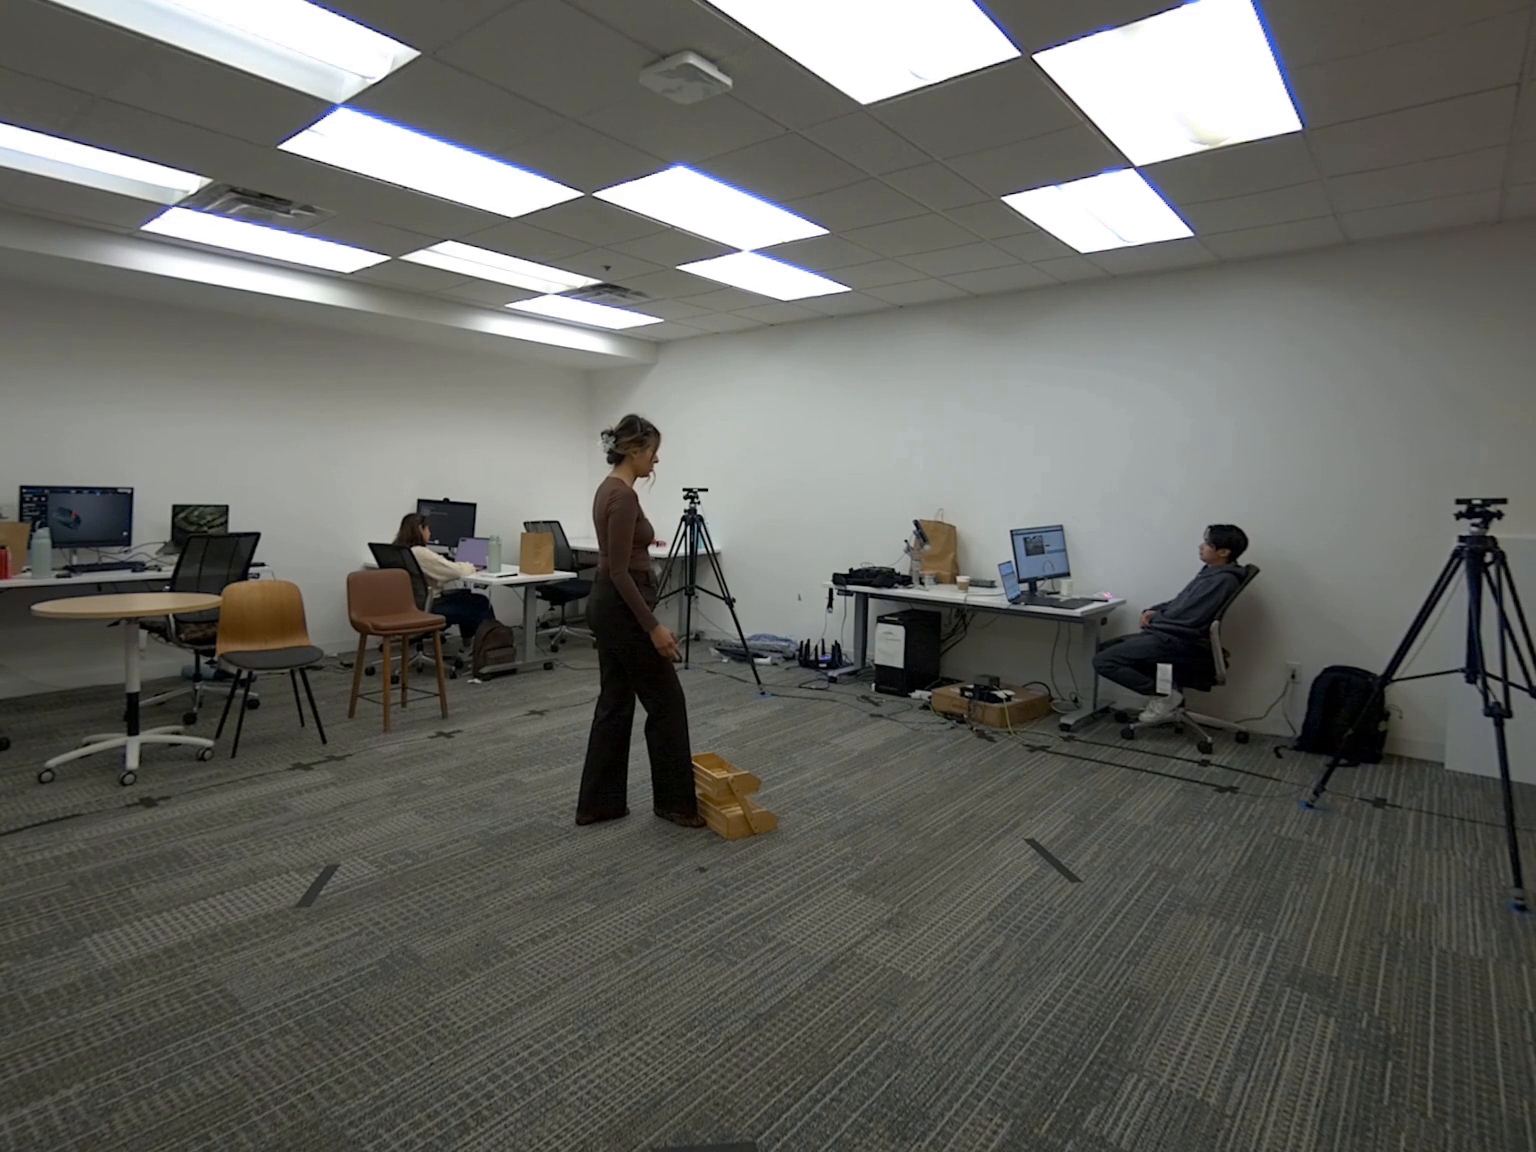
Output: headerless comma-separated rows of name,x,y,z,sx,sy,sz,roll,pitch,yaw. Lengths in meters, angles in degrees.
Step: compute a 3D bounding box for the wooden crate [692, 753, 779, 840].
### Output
wooden crate,-0.164,0.896,3.545,0.294,0.272,0.335,-2,5,-32
